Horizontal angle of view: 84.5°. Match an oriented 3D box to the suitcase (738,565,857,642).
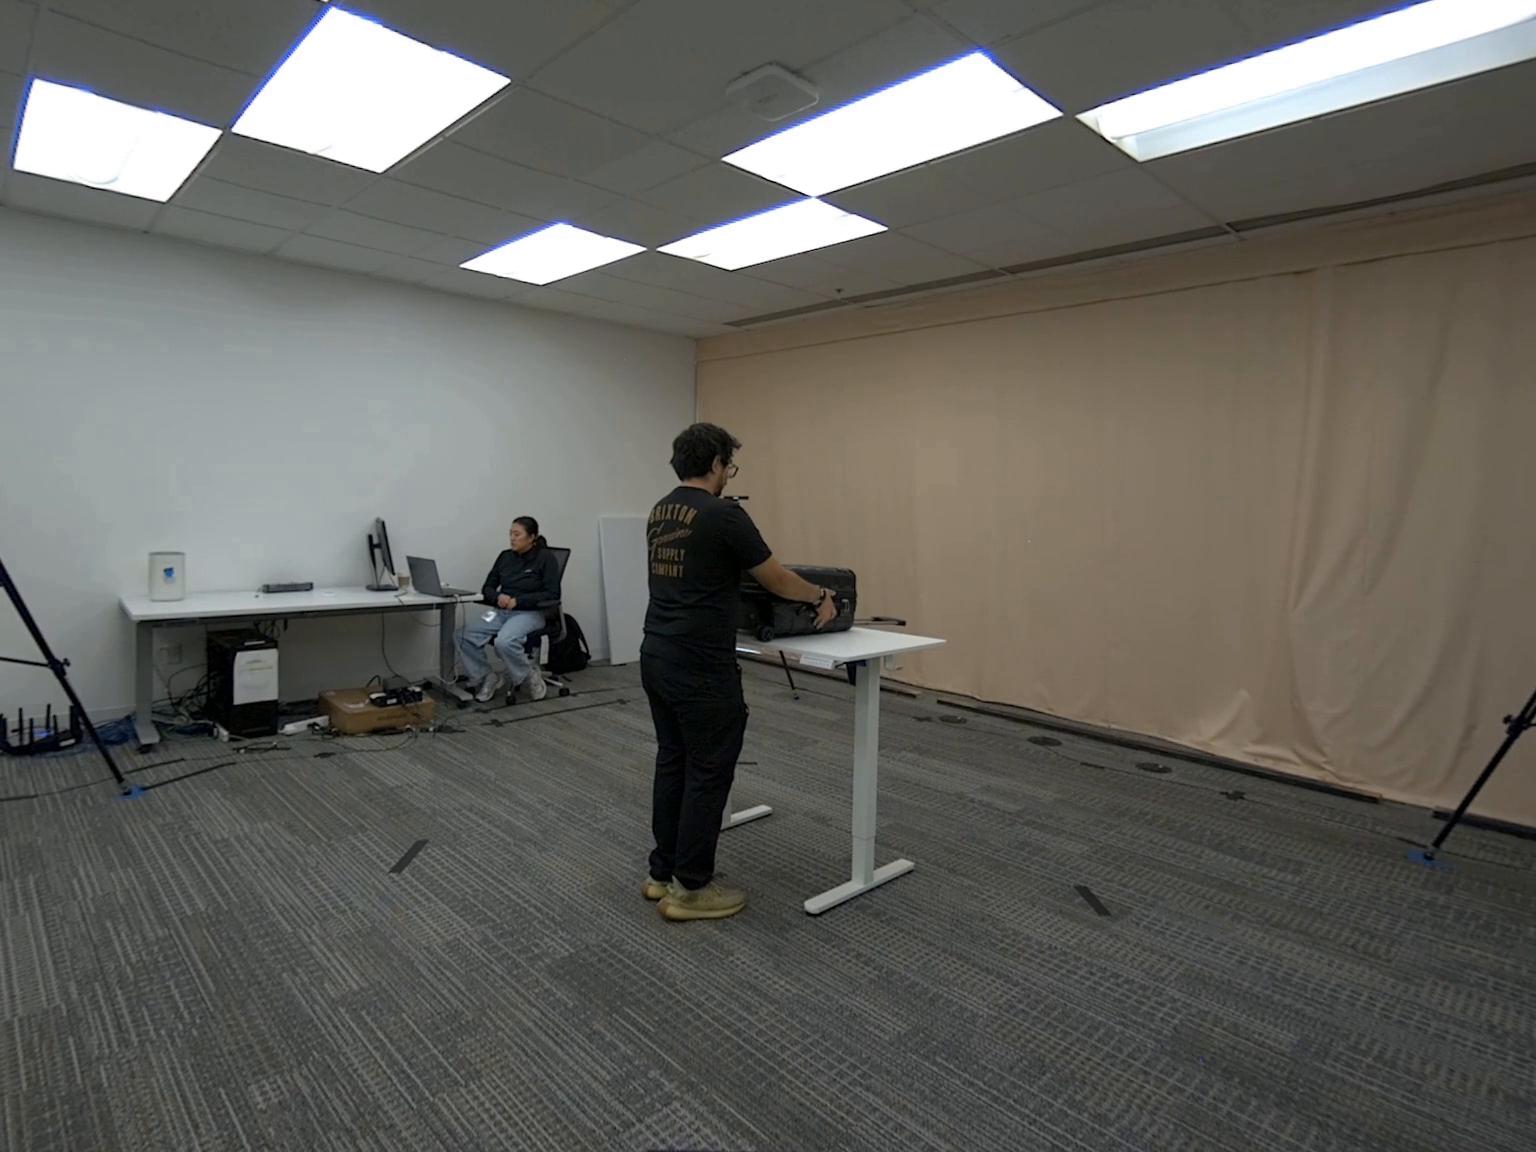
[{"bbox_3d":[0.213,0.086,3.382,0.955,0.257,0.393,-1,3,-43],"label":"suitcase"}]
